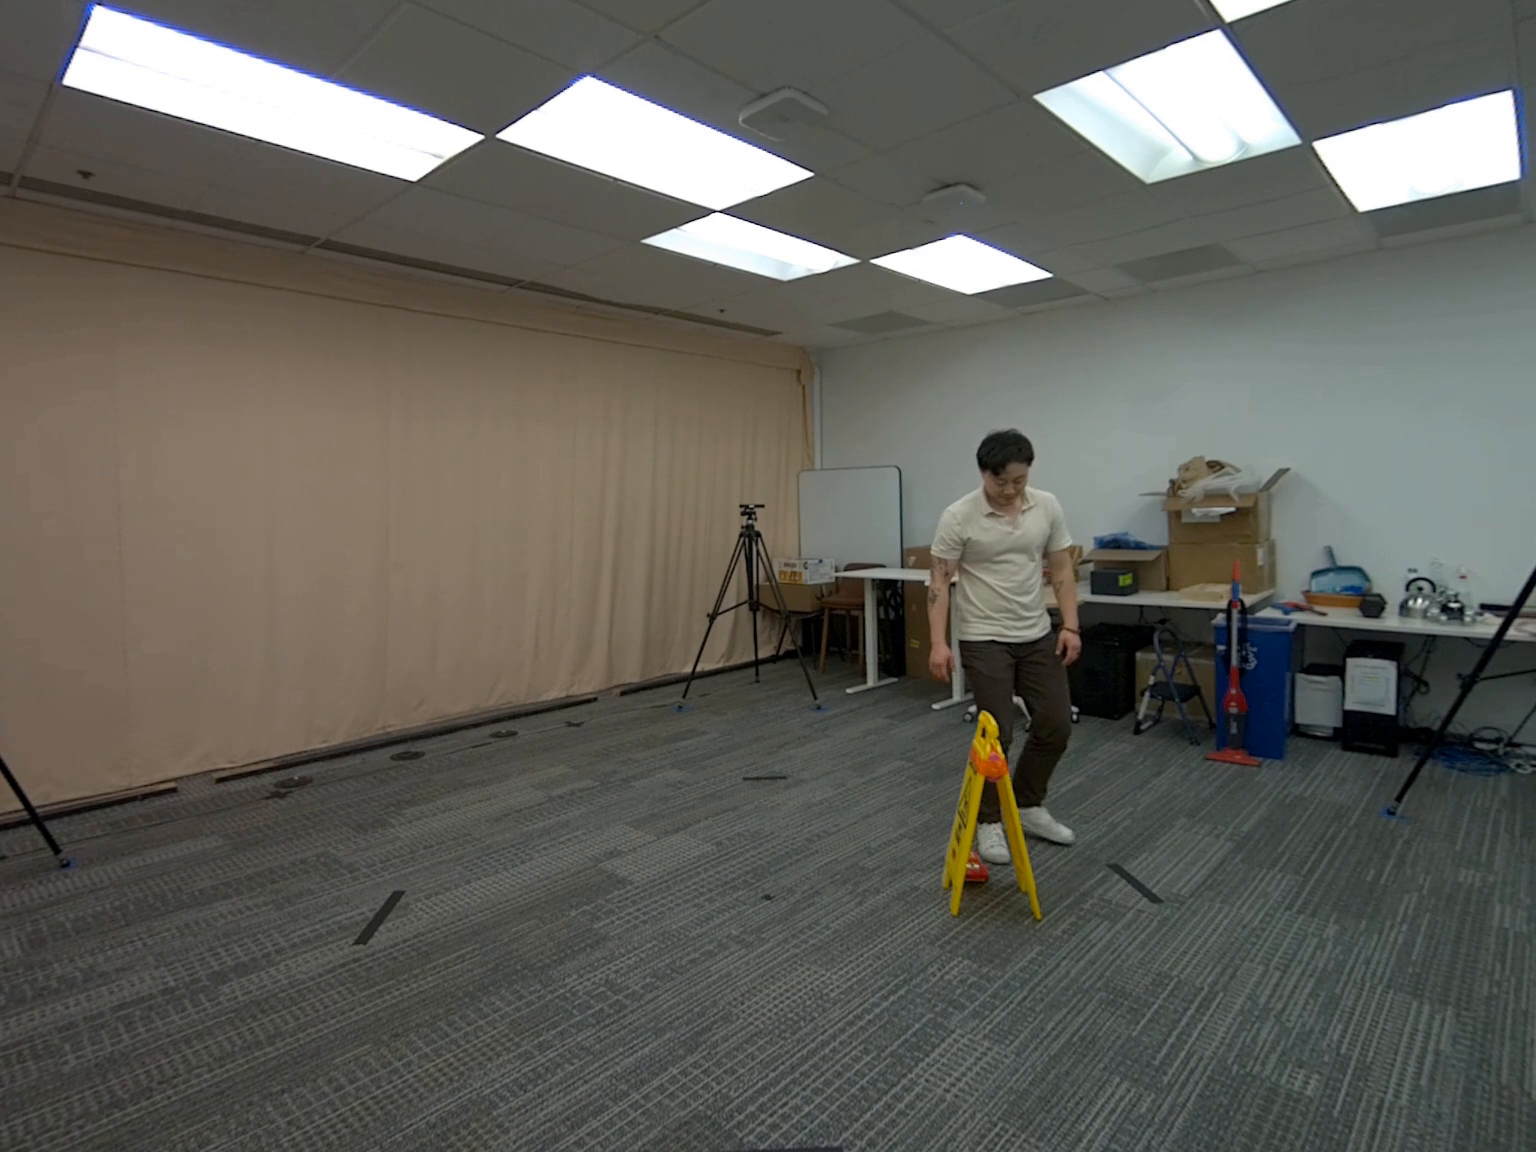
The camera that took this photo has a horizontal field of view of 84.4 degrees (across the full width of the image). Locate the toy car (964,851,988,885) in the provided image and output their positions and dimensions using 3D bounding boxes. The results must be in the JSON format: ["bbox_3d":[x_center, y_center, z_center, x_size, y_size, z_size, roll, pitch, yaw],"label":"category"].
[{"bbox_3d":[0.753,1.082,3.138,0.131,0.083,0.252,-1,-7,2],"label":"toy car"}]
